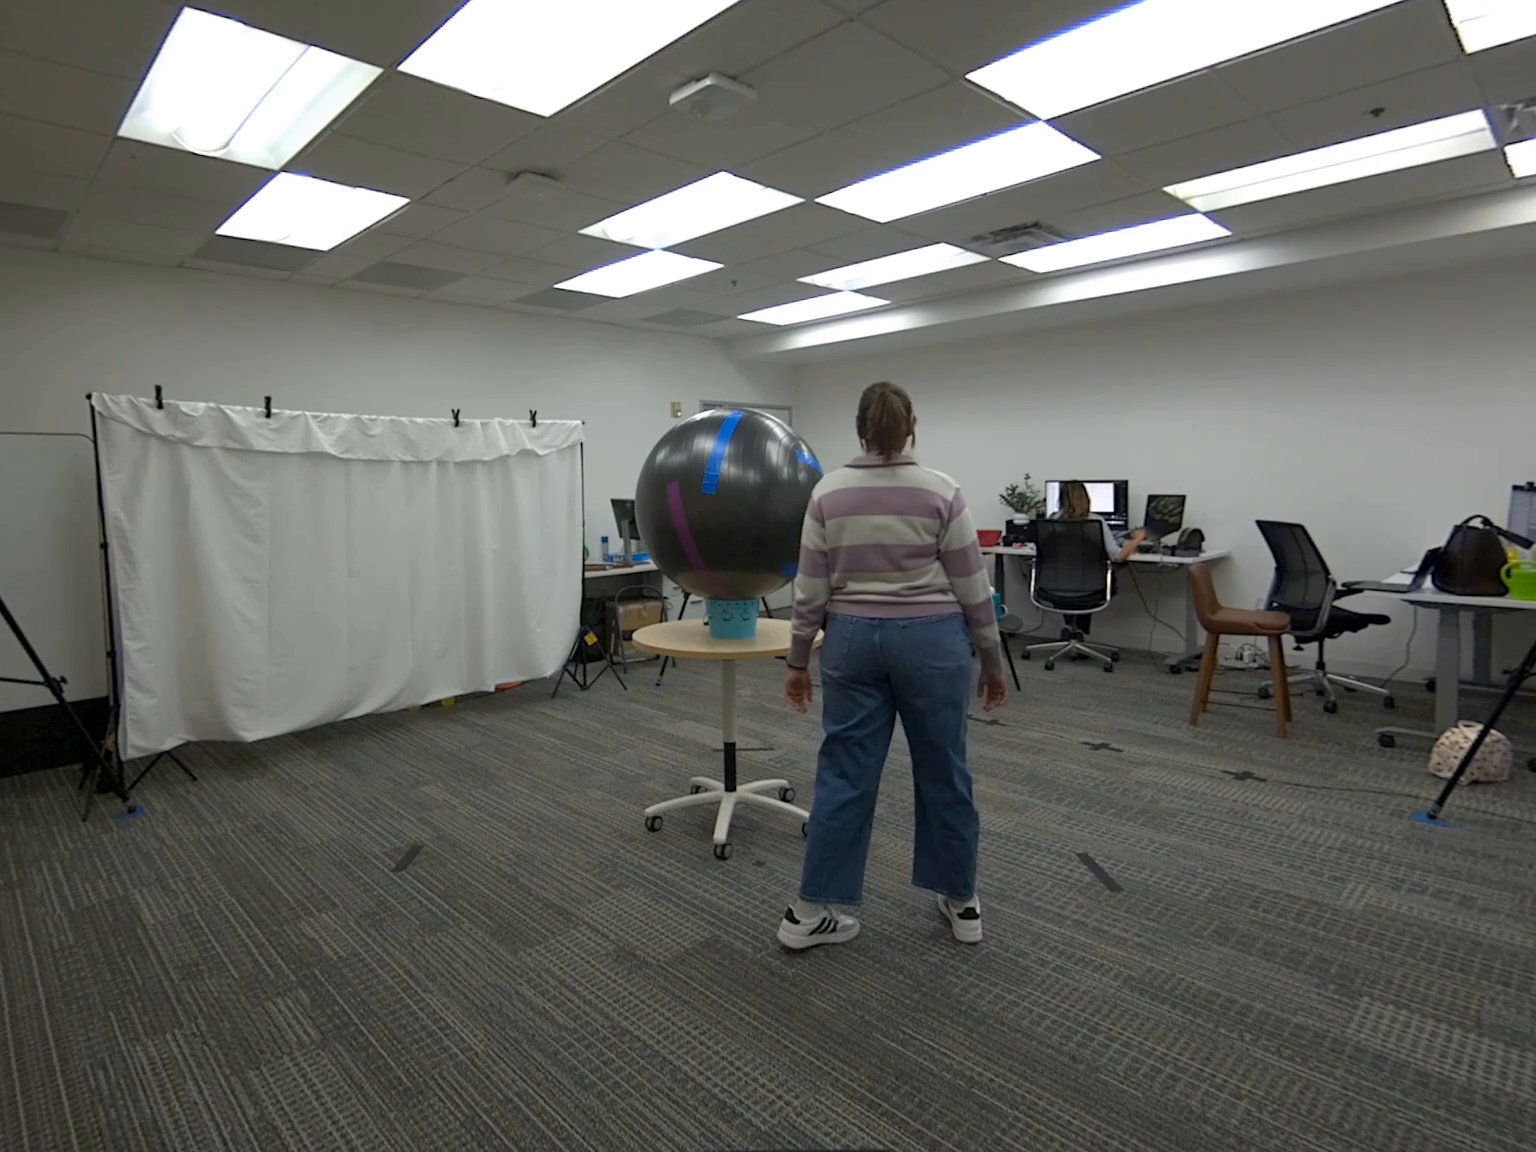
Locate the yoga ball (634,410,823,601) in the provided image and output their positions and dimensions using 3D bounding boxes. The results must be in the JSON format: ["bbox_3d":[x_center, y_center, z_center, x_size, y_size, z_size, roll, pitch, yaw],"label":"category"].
[{"bbox_3d":[-0.150,-0.274,3.358,0.757,0.755,0.762,-1,5,-2],"label":"yoga ball"}]
